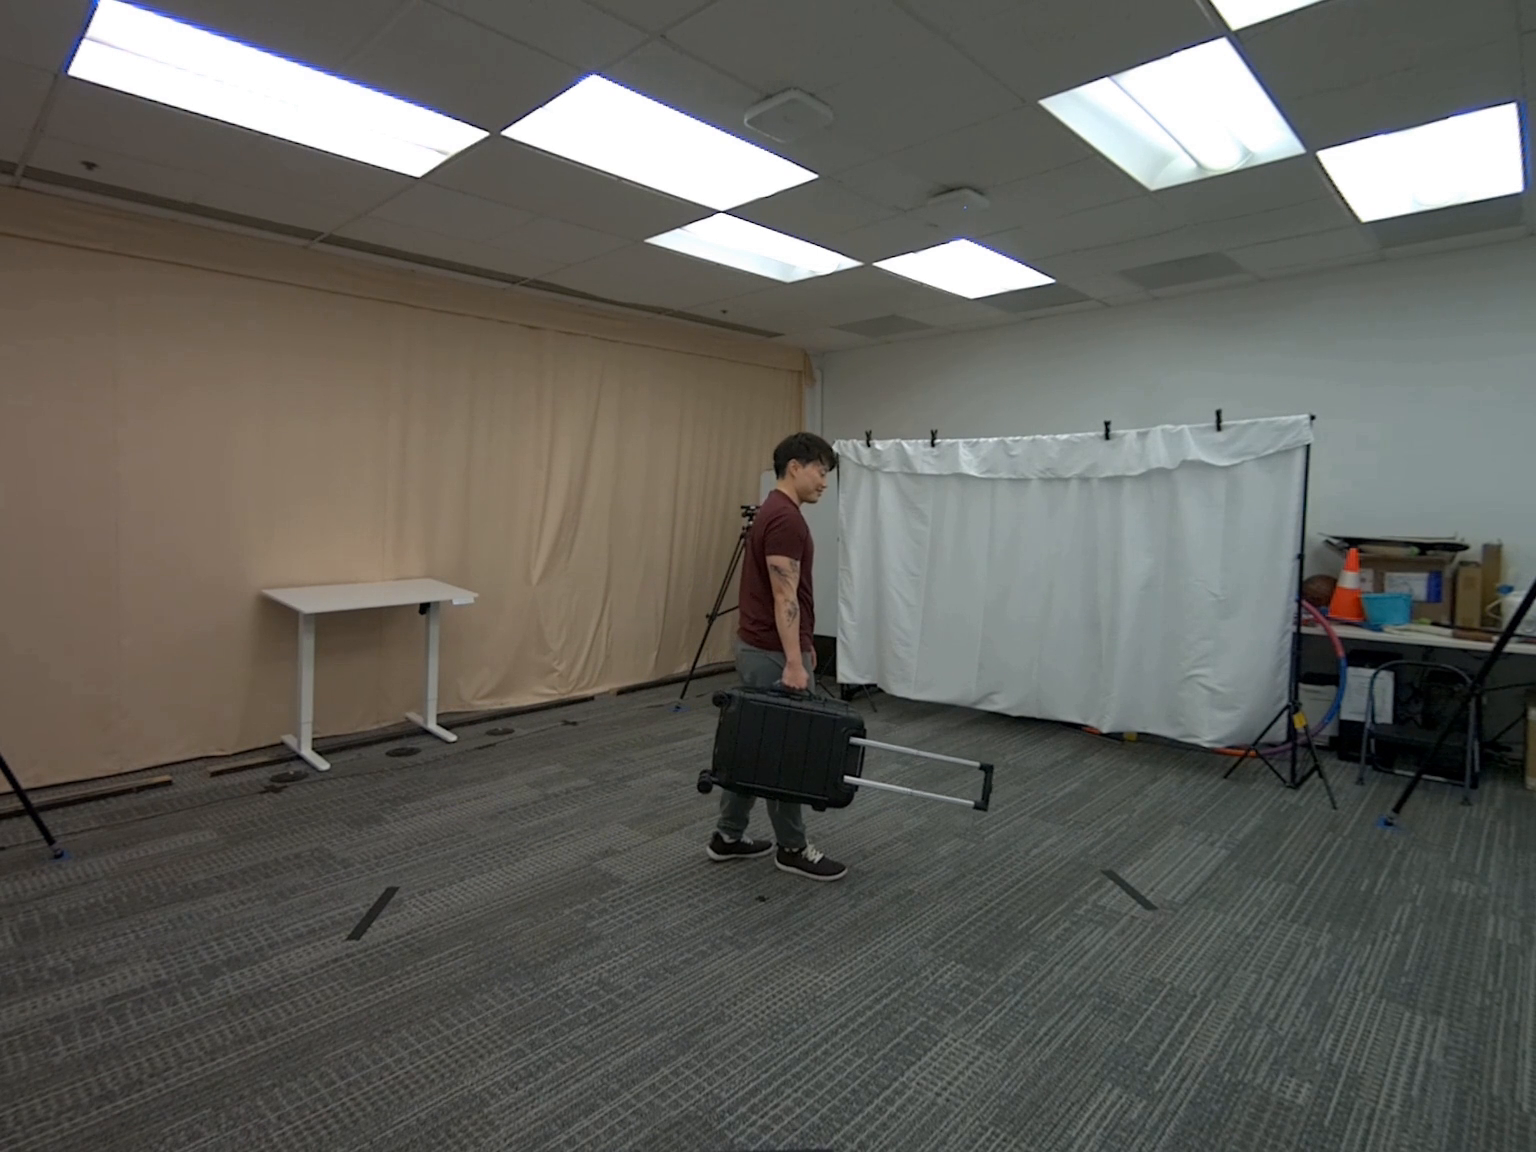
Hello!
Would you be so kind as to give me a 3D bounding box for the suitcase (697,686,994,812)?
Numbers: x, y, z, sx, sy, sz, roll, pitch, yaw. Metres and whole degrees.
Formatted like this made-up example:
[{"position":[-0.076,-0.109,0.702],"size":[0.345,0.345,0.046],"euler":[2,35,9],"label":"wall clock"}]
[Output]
[{"position":[0.268,0.629,2.959],"size":[0.978,0.385,0.256],"euler":[8,-8,0],"label":"suitcase"}]
